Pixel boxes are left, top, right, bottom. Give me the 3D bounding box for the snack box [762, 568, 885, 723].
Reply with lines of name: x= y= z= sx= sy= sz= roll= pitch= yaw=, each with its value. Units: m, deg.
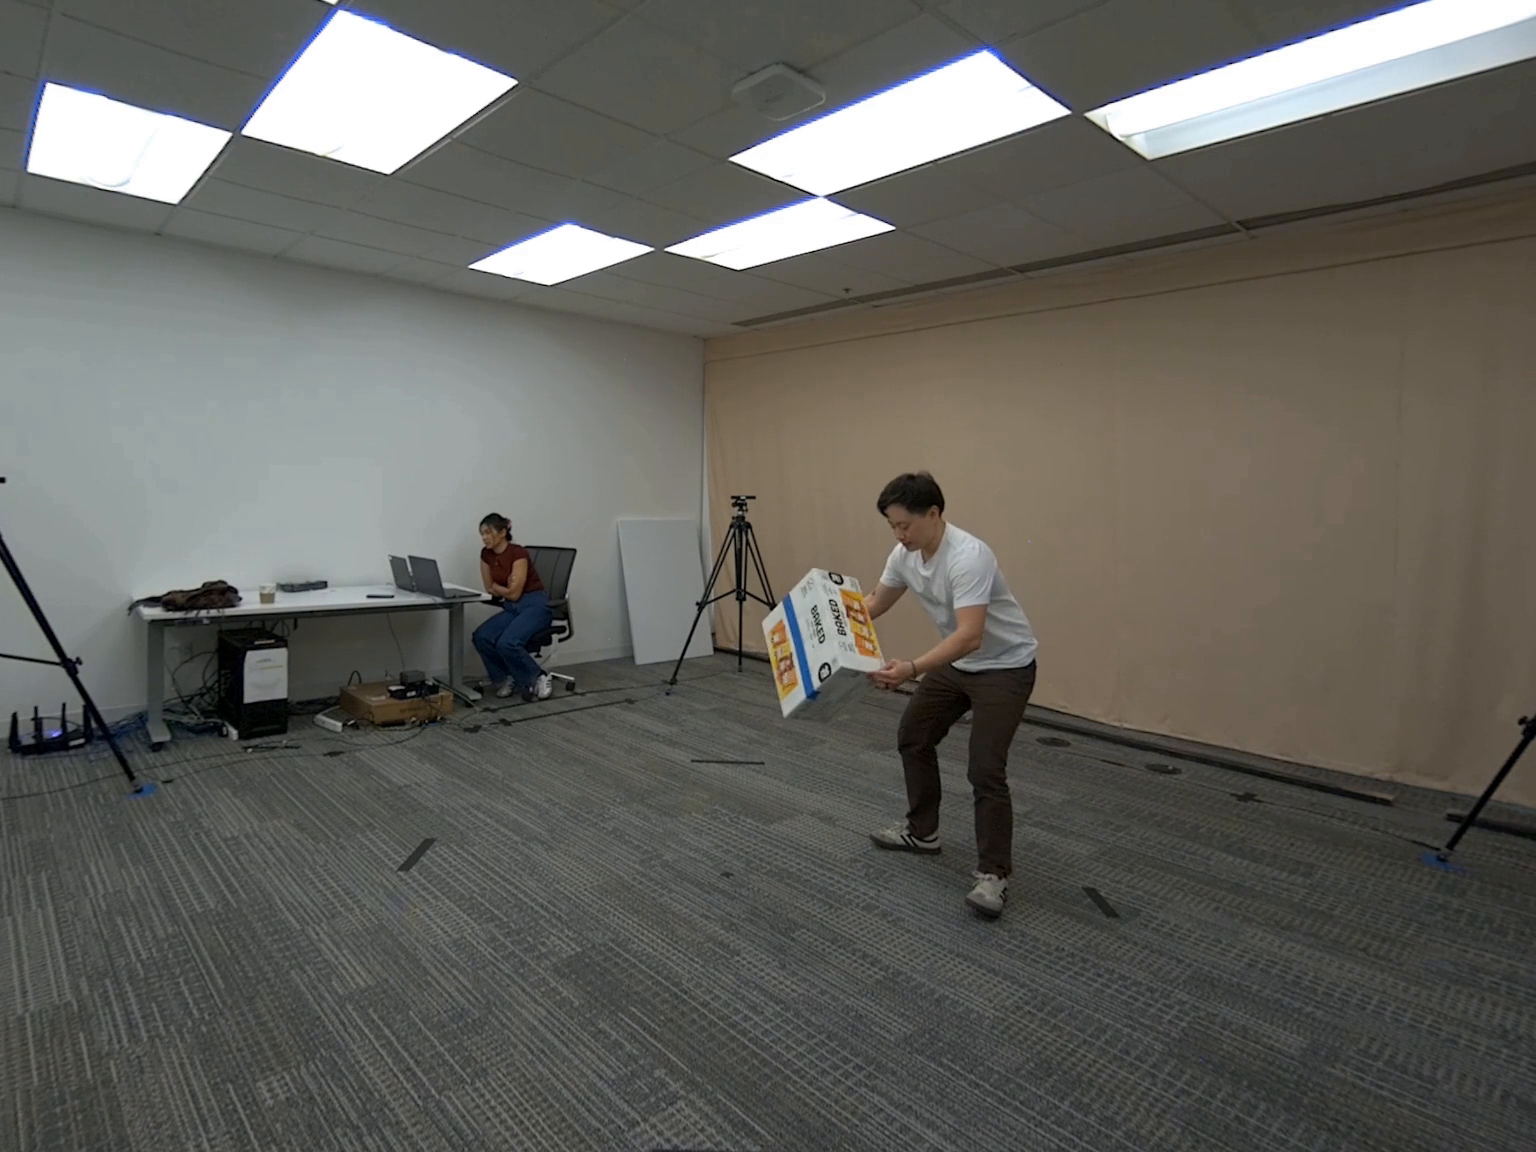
snack box: x=0.179 y=0.255 z=2.919 sx=0.201 sy=0.416 sz=0.339 roll=13 pitch=-46 yaw=-31
